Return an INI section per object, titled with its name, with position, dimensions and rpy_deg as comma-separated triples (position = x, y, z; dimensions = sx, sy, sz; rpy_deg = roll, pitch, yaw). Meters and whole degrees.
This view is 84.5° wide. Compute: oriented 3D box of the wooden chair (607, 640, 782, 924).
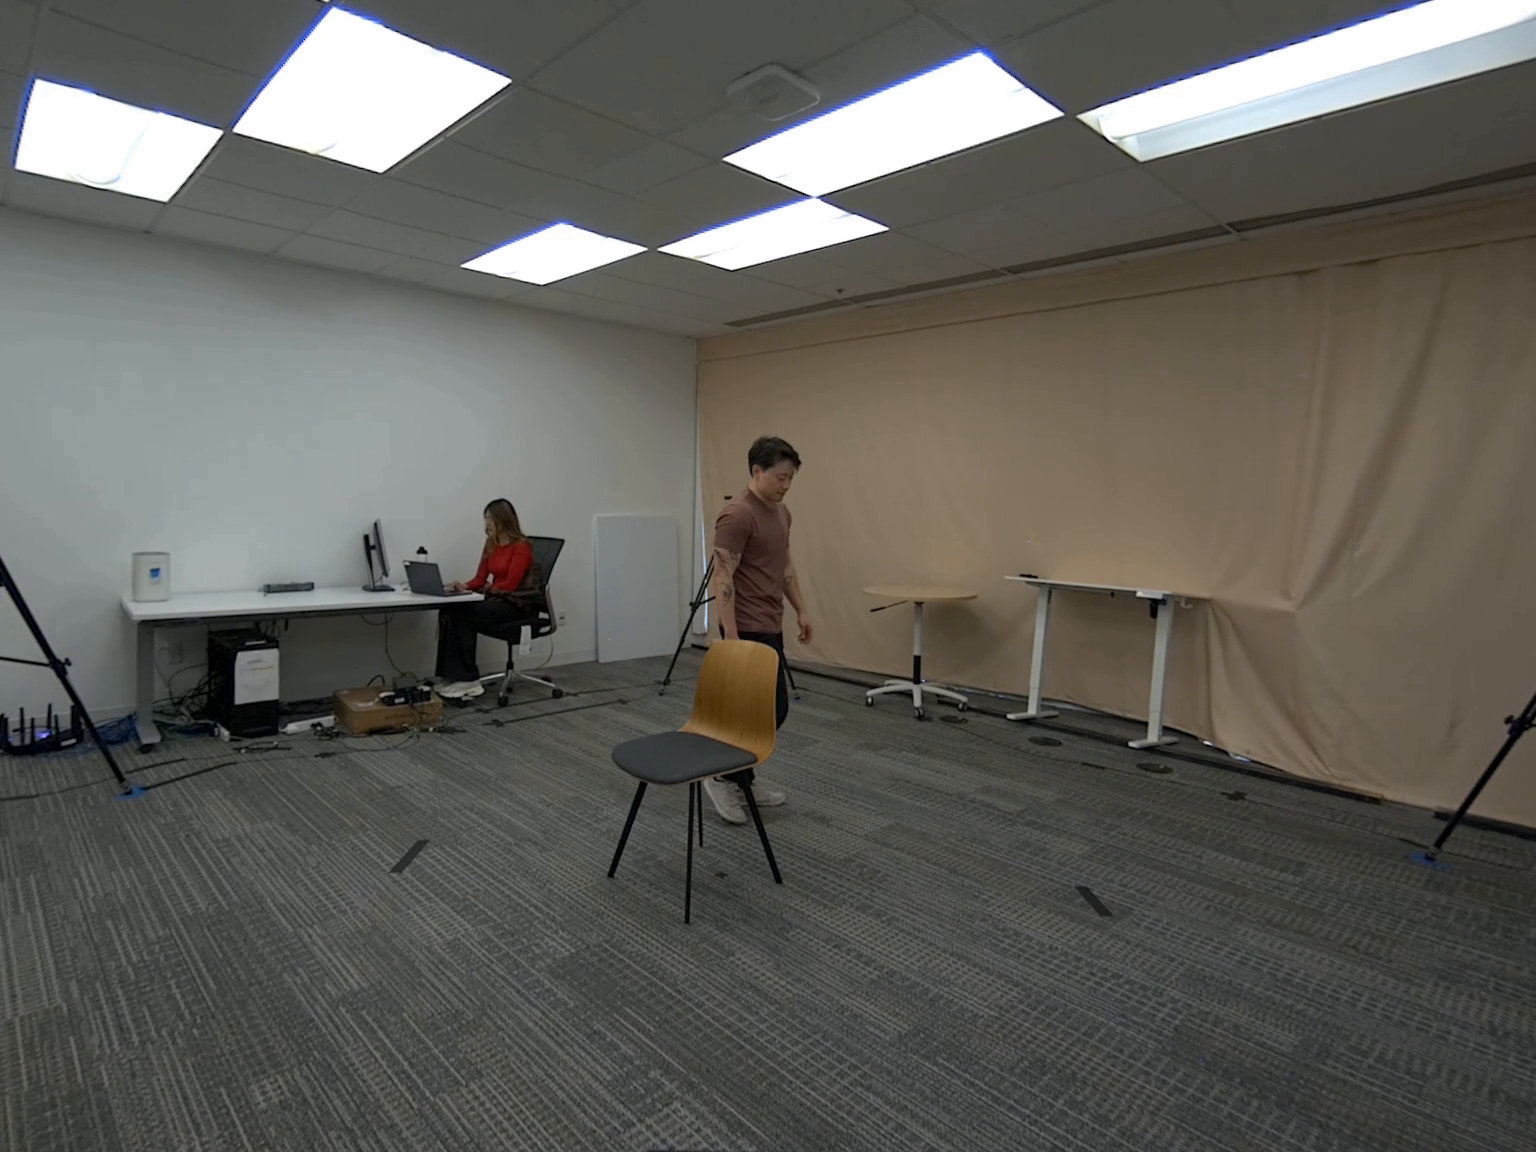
[wooden chair]
position = -0.267, 0.682, 3.017
dimensions = 0.510, 0.877, 0.490
rpy_deg = 4, 1, -44
